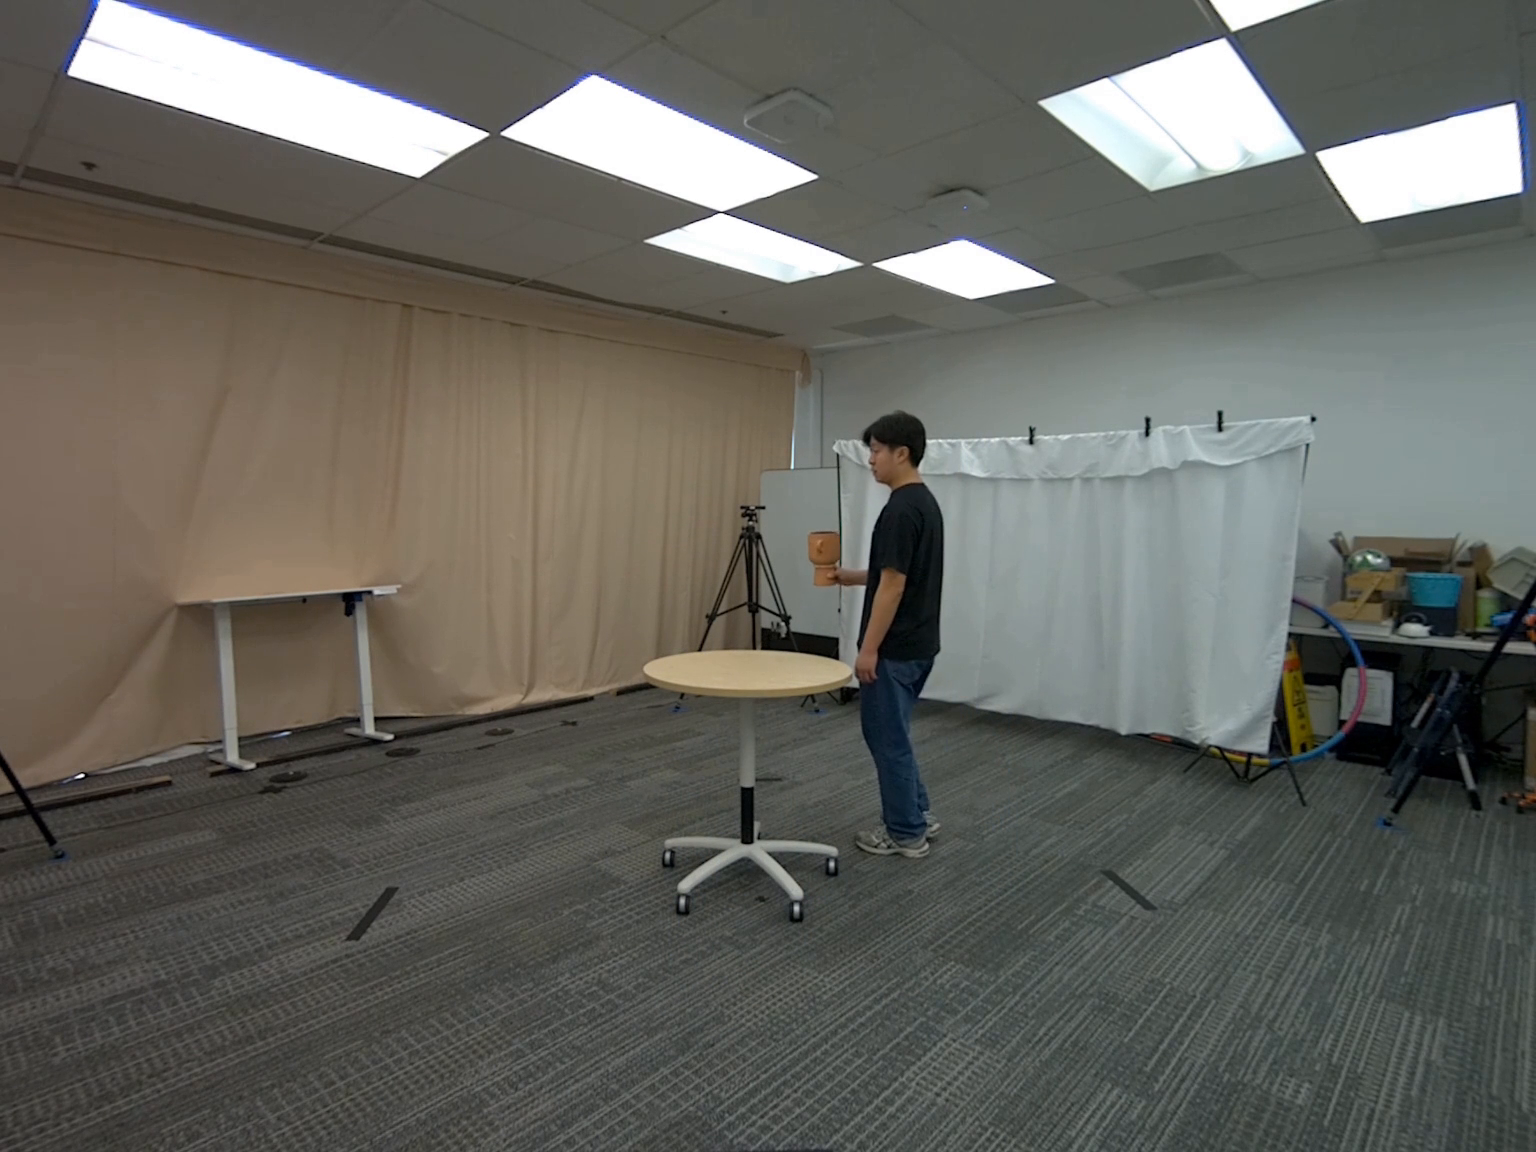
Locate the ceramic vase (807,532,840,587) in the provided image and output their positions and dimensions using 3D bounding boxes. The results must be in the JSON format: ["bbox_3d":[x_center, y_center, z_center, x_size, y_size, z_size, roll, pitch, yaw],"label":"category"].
[{"bbox_3d":[0.250,-0.072,3.558,0.155,0.219,0.139,-7,8,-32],"label":"ceramic vase"}]
